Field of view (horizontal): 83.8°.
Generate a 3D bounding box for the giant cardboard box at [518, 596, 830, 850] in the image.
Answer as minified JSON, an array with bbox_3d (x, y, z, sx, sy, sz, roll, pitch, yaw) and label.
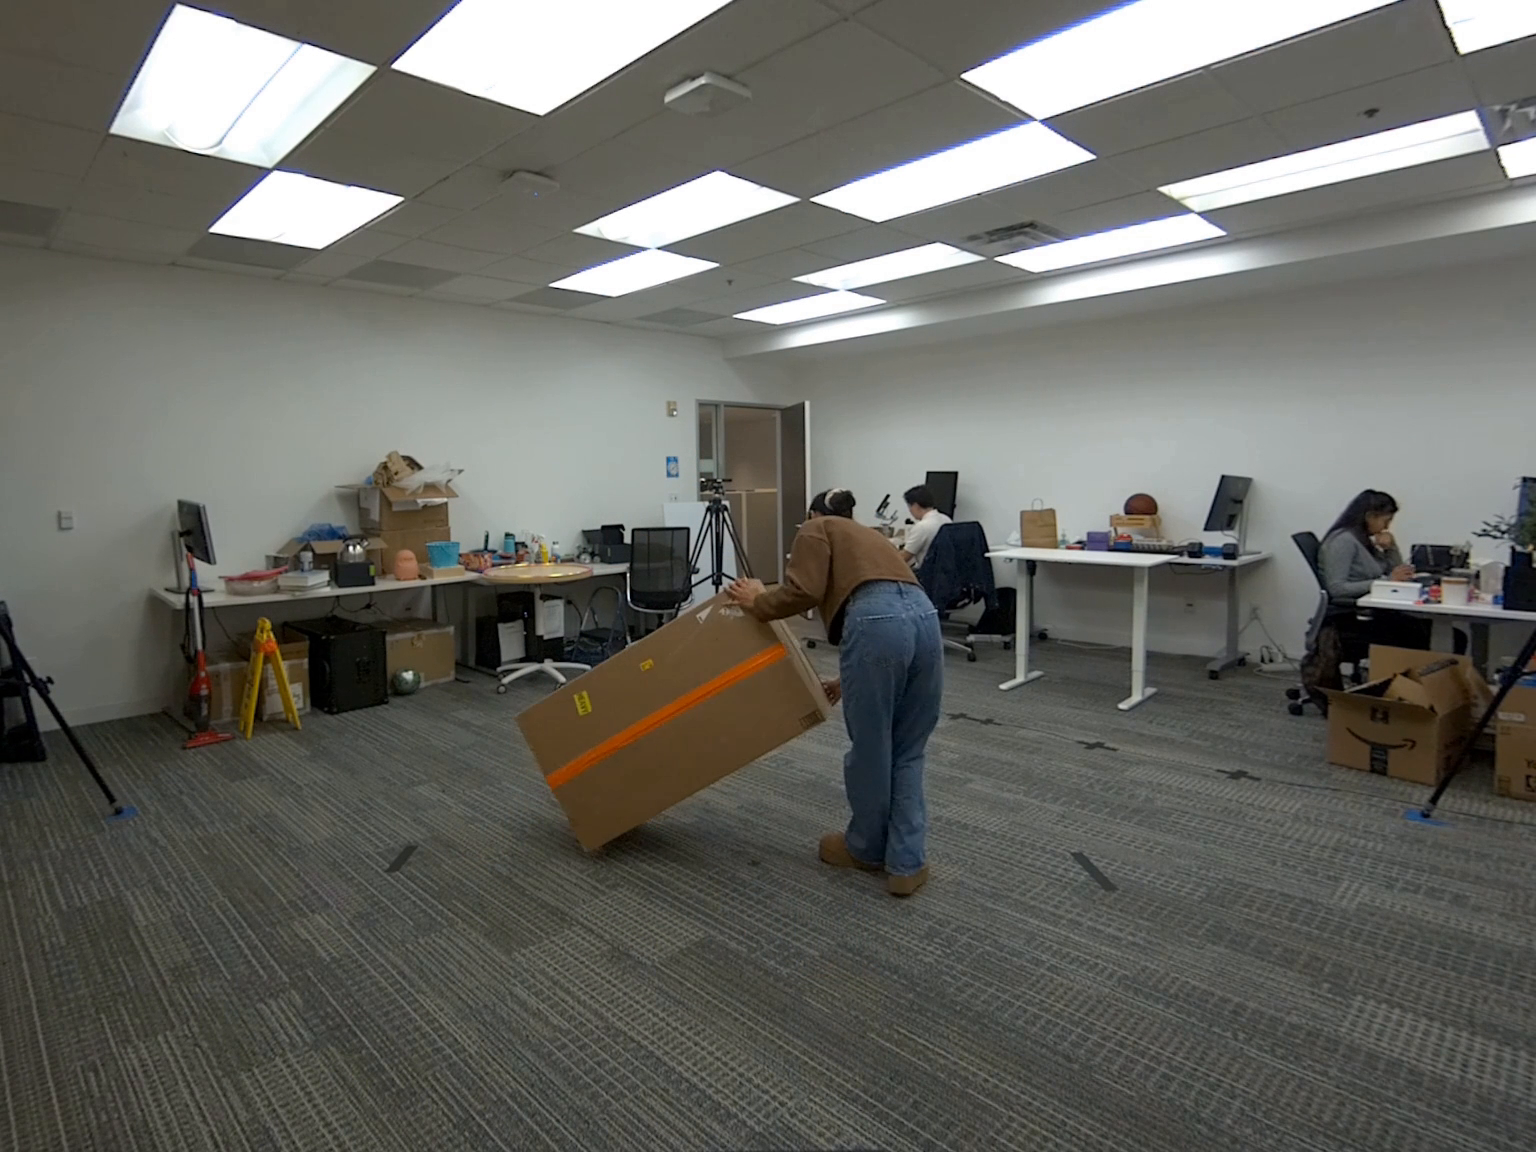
[{"bbox_3d":[-0.346,0.517,3.304,1.029,0.589,0.442,-31,-6,7],"label":"giant cardboard box"}]
